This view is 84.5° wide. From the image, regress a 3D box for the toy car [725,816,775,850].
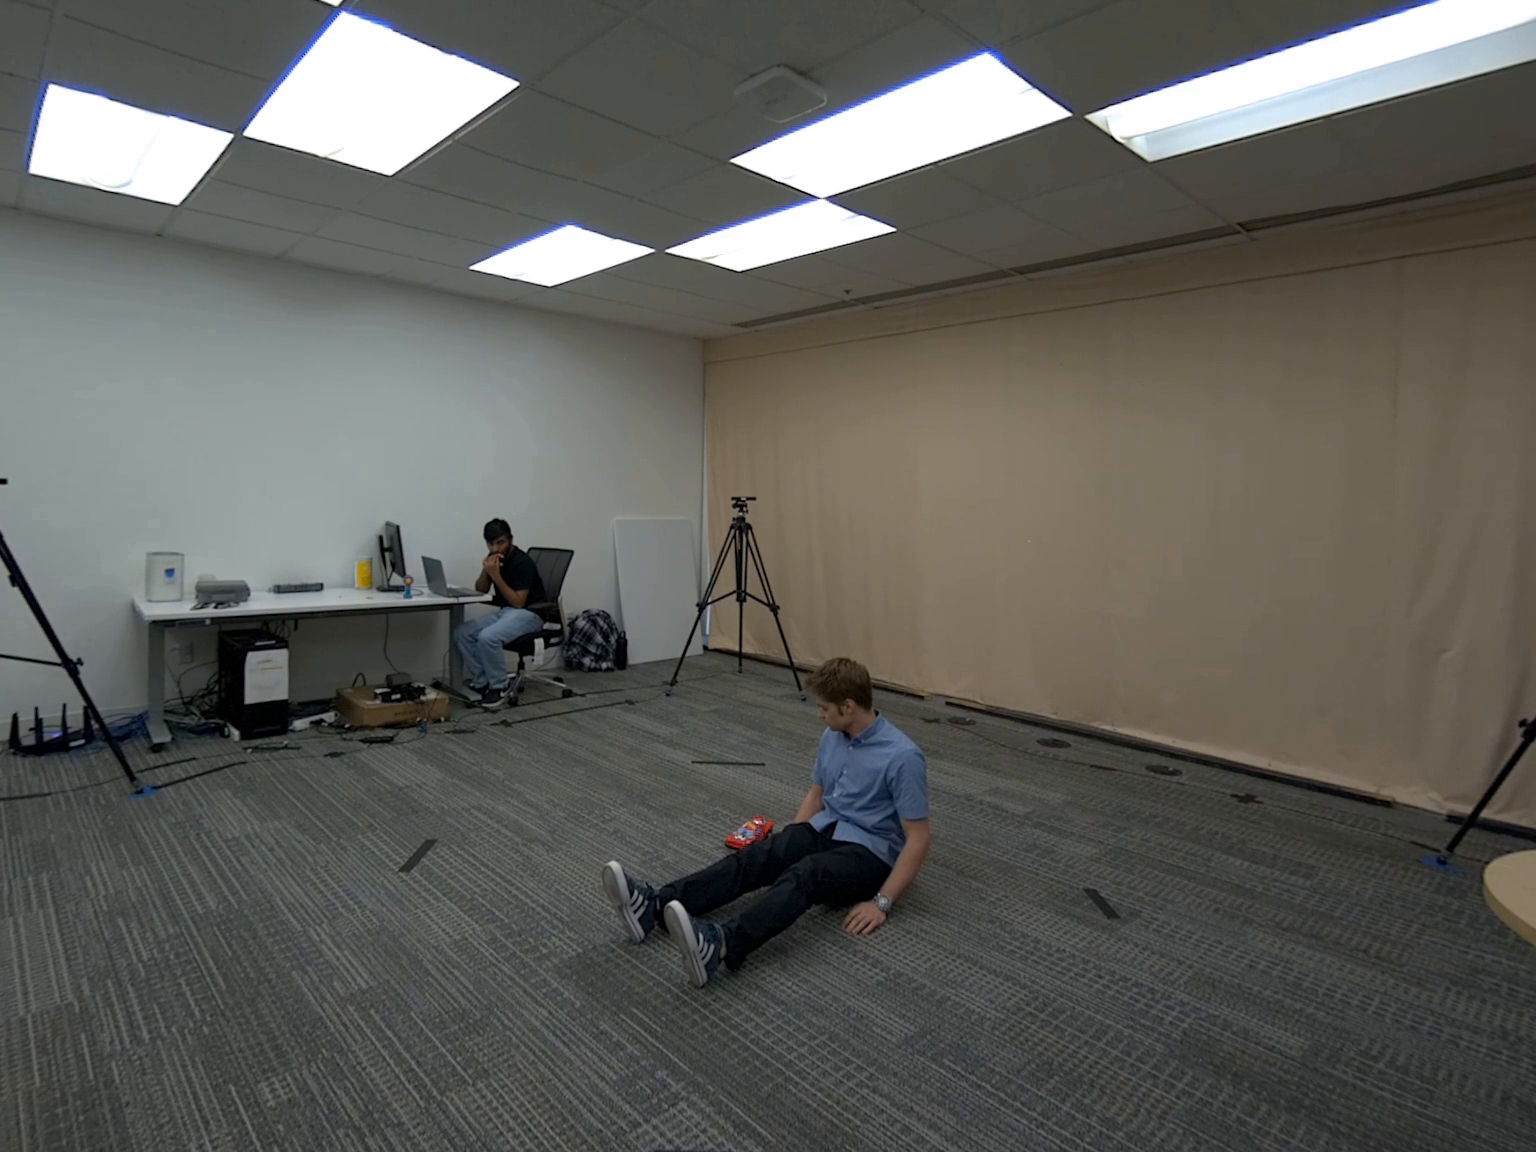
[{"bbox_3d":[-0.076,1.052,3.427,0.133,0.082,0.251,3,17,32],"label":"toy car"}]
